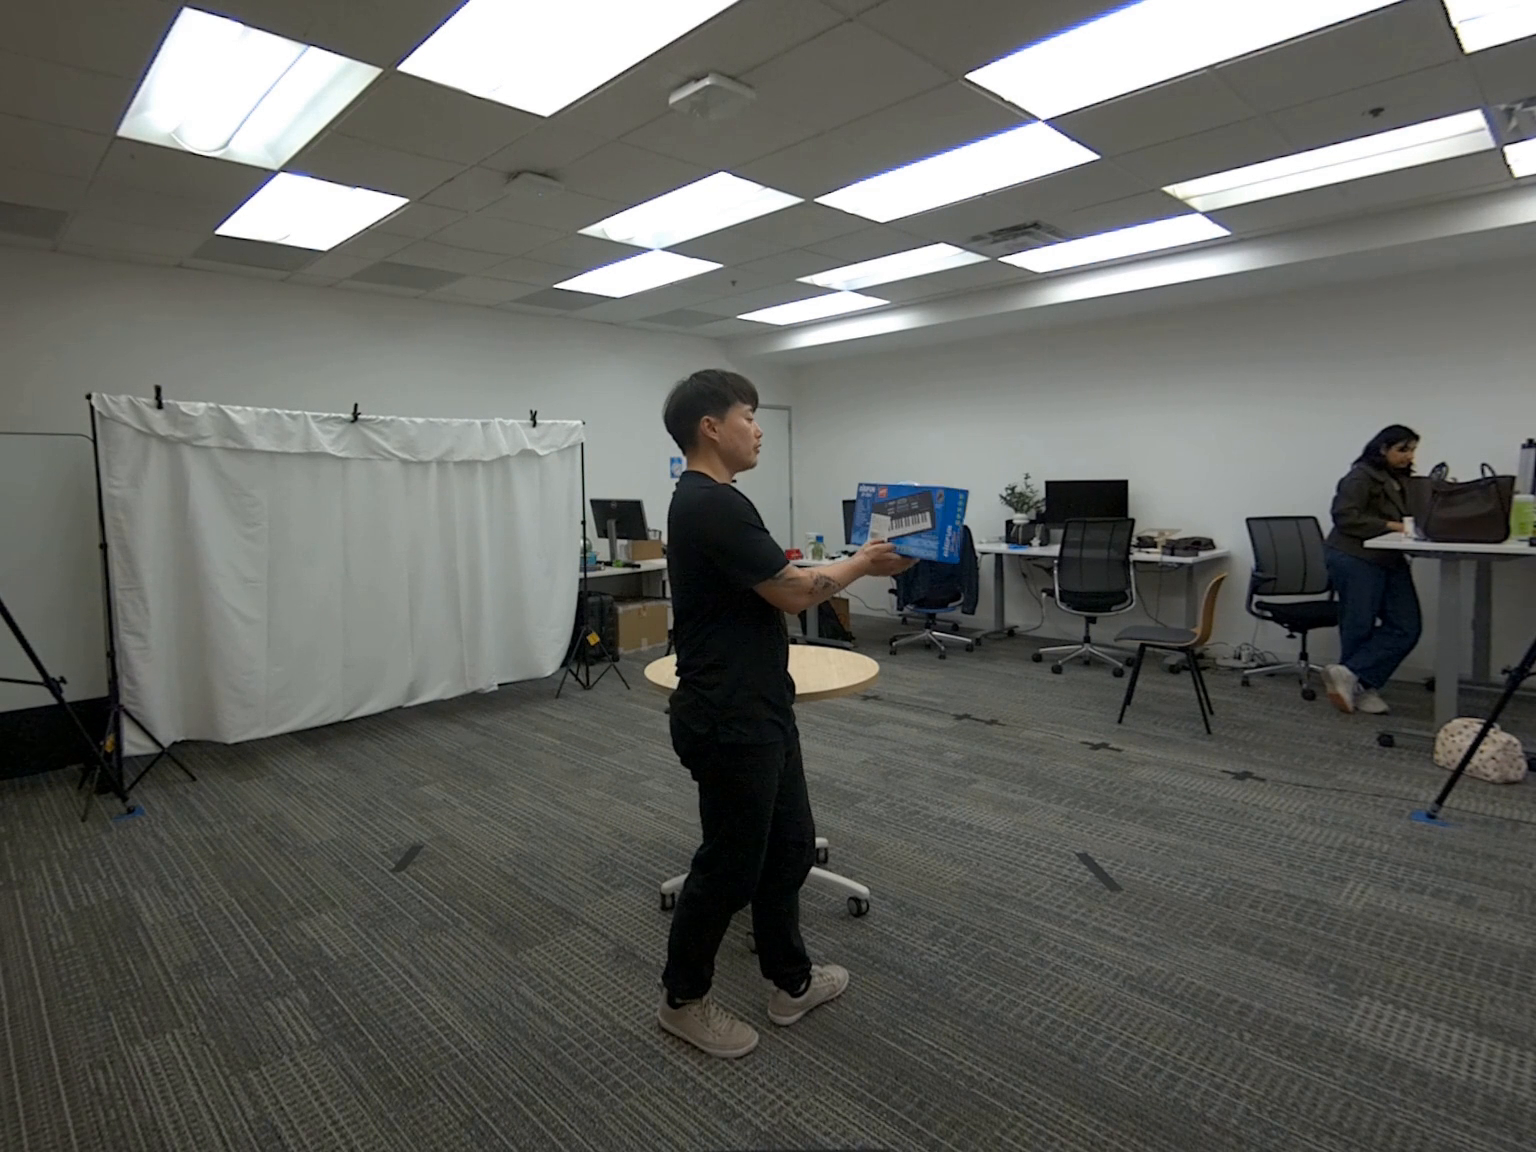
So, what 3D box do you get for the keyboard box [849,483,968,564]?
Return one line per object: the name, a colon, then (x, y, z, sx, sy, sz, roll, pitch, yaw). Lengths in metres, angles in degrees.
keyboard box: (0.342, -0.141, 2.146, 0.058, 0.175, 0.447, 7, 4, -22)
